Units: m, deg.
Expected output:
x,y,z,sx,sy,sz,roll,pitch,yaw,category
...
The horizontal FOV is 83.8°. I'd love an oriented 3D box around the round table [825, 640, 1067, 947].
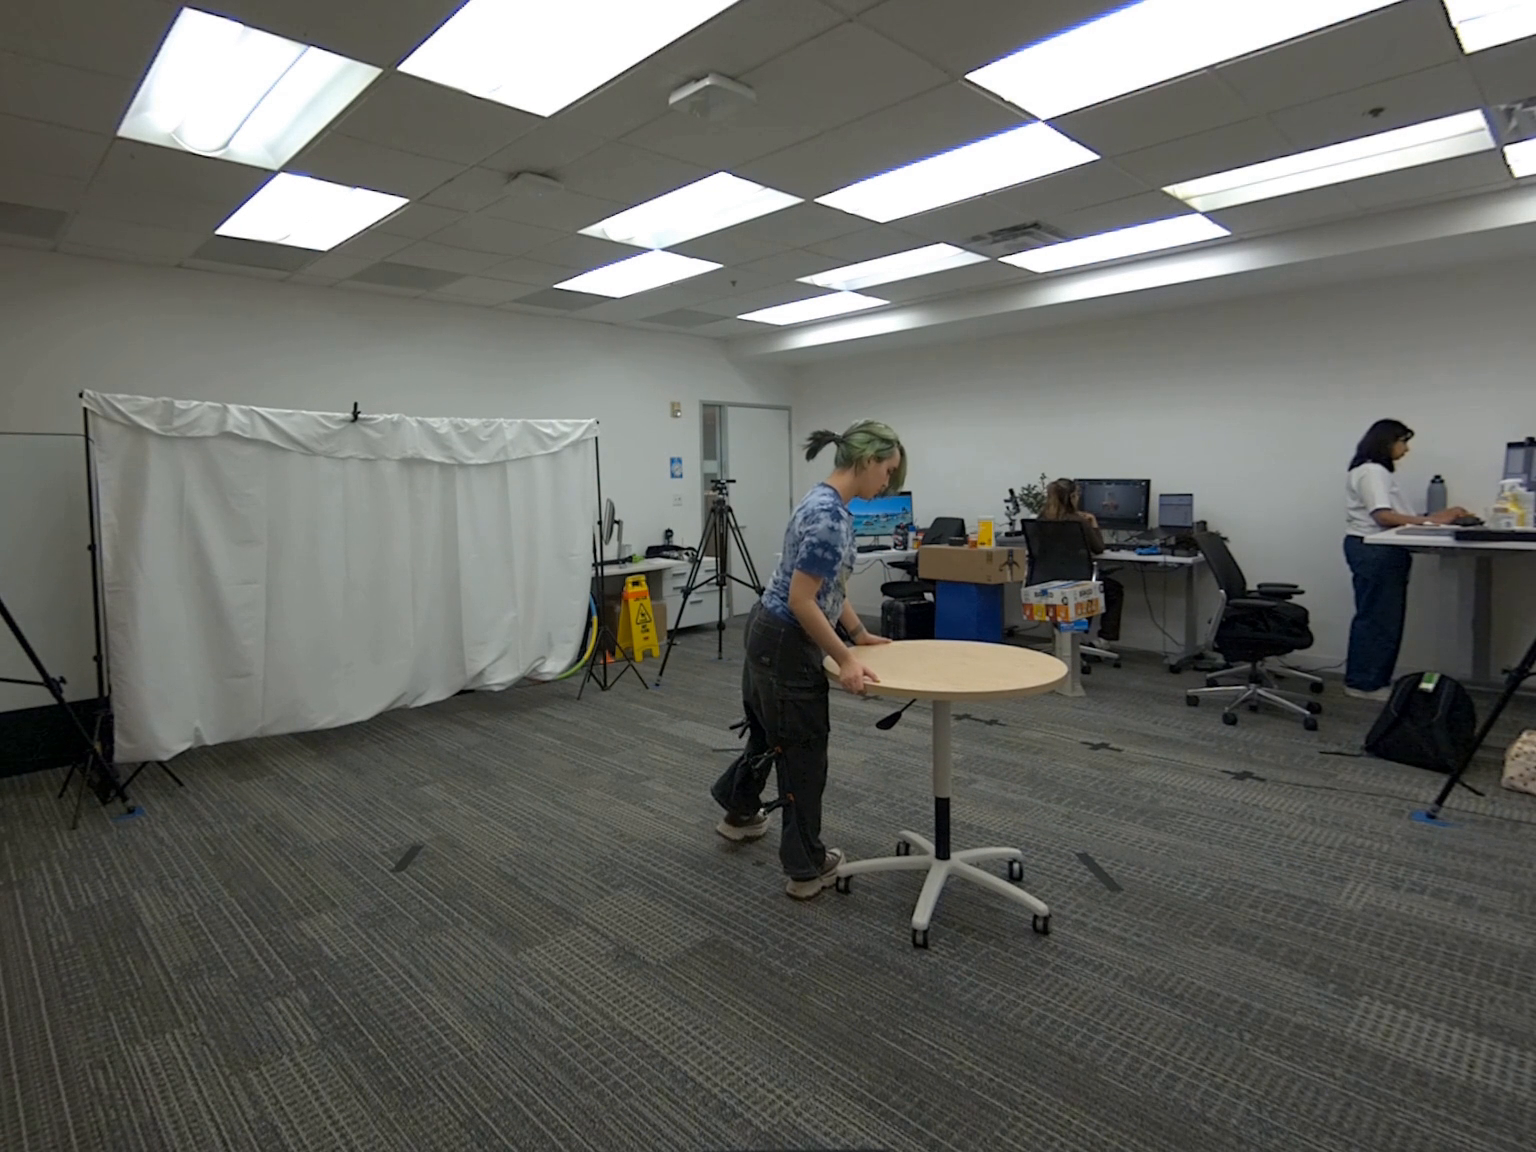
x,y,z,sx,sy,sz,roll,pitch,yaw,category
0.577,0.679,2.788,0.763,0.790,0.768,-1,5,-2,round table
